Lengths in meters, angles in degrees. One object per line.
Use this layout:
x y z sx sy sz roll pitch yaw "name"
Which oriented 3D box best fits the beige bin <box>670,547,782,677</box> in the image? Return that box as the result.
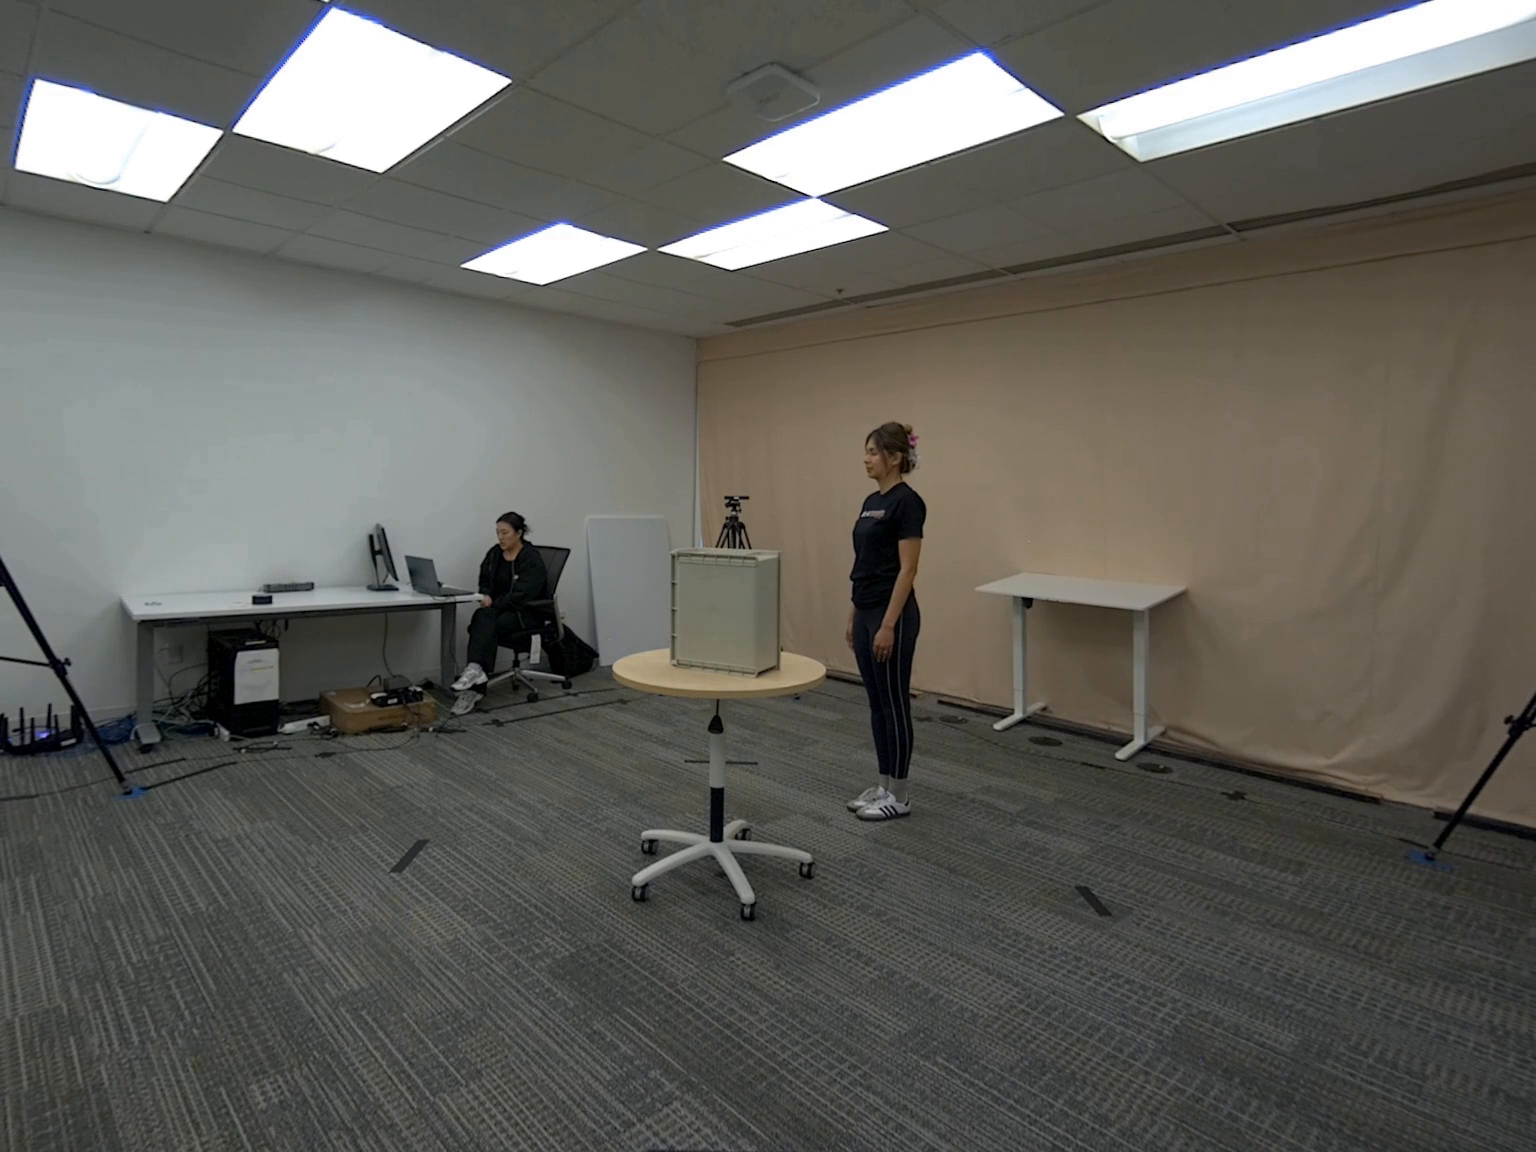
-0.168 0.121 2.983 0.385 0.421 0.185 3 5 28 "beige bin"
